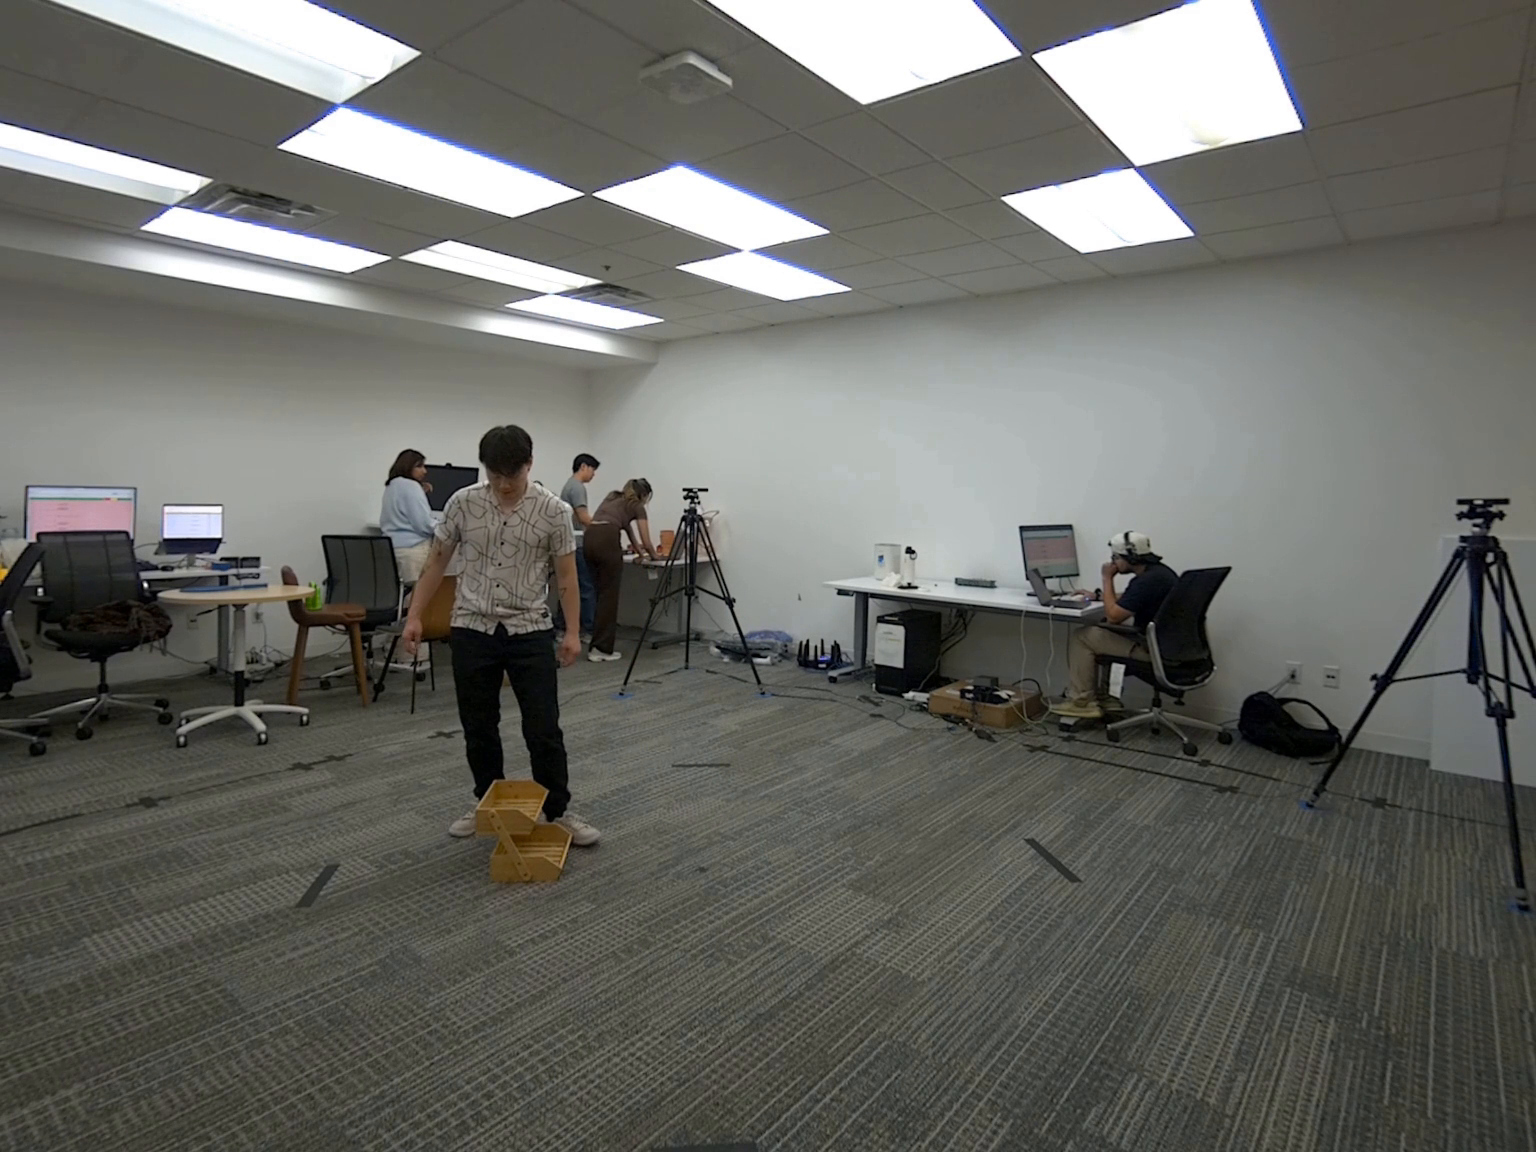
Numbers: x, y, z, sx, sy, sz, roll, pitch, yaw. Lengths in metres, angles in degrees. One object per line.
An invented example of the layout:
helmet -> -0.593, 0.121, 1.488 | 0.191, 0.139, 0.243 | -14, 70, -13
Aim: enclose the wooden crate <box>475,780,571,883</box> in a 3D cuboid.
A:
wooden crate -> -0.896, 0.920, 3.127 | 0.301, 0.272, 0.327 | 1, 4, -5
